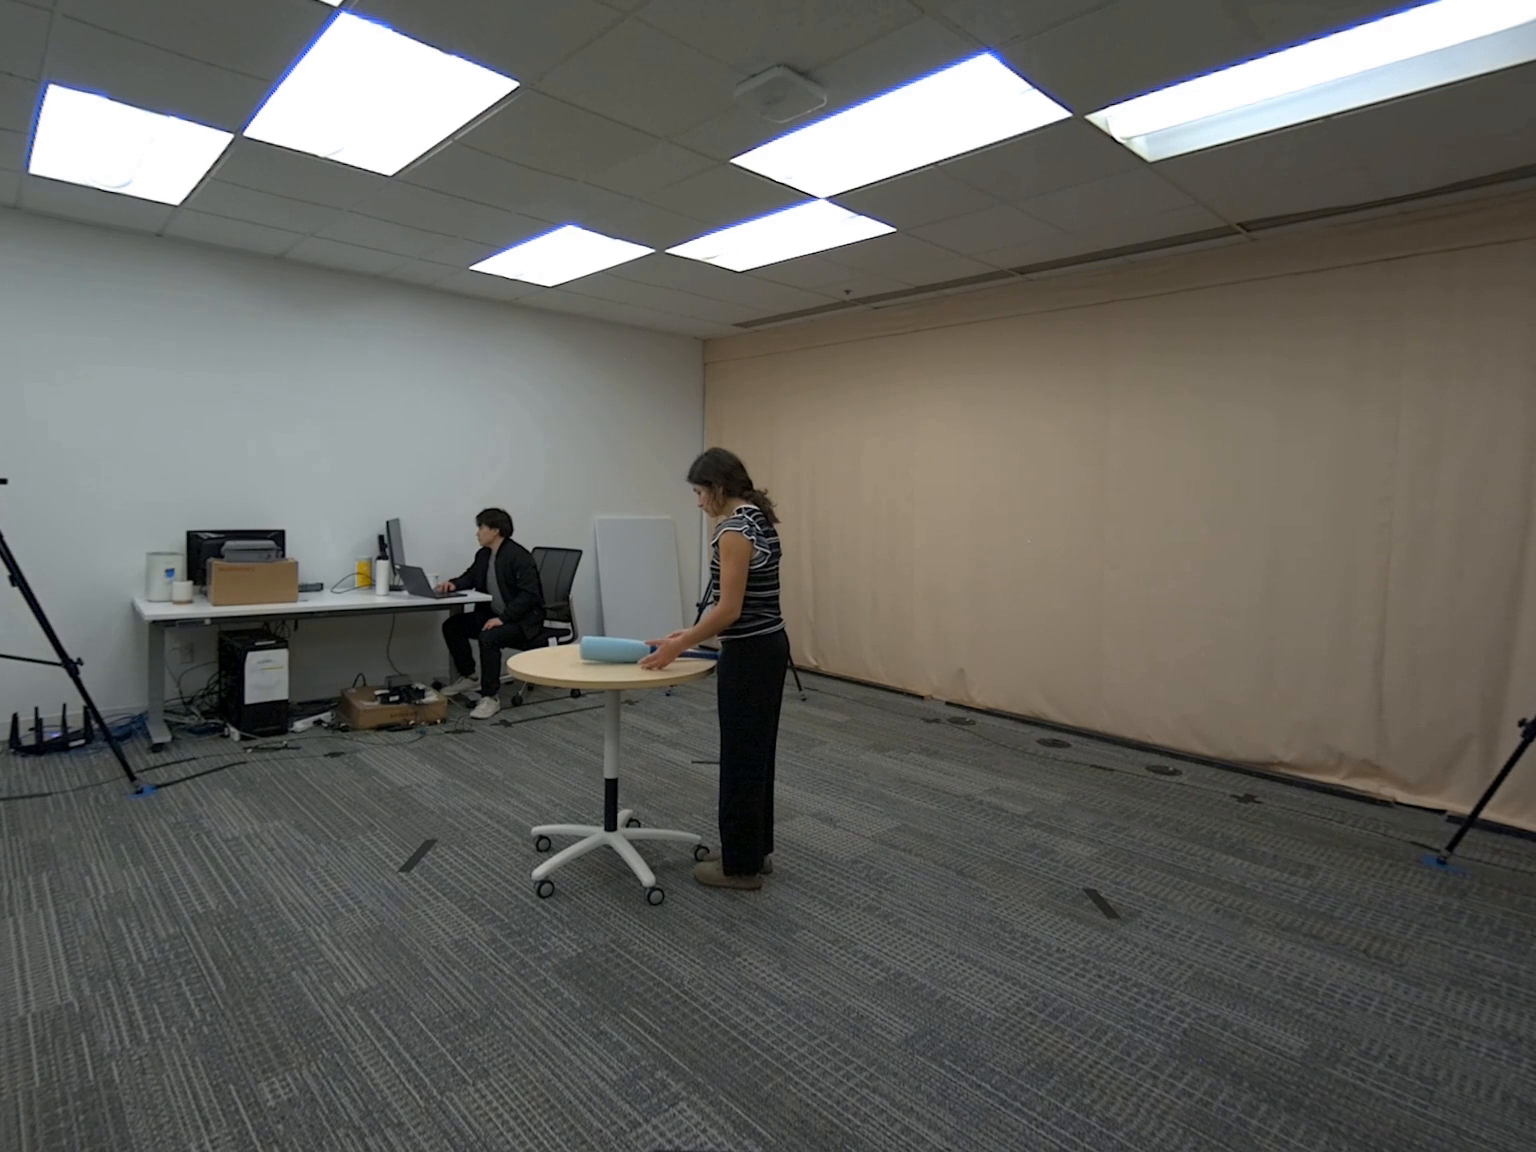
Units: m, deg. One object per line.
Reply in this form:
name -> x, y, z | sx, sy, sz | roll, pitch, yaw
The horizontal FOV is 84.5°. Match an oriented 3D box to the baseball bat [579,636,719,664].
baseball bat -> -0.419, 0.281, 3.087 | 0.537, 0.089, 0.090 | 5, 3, -12
